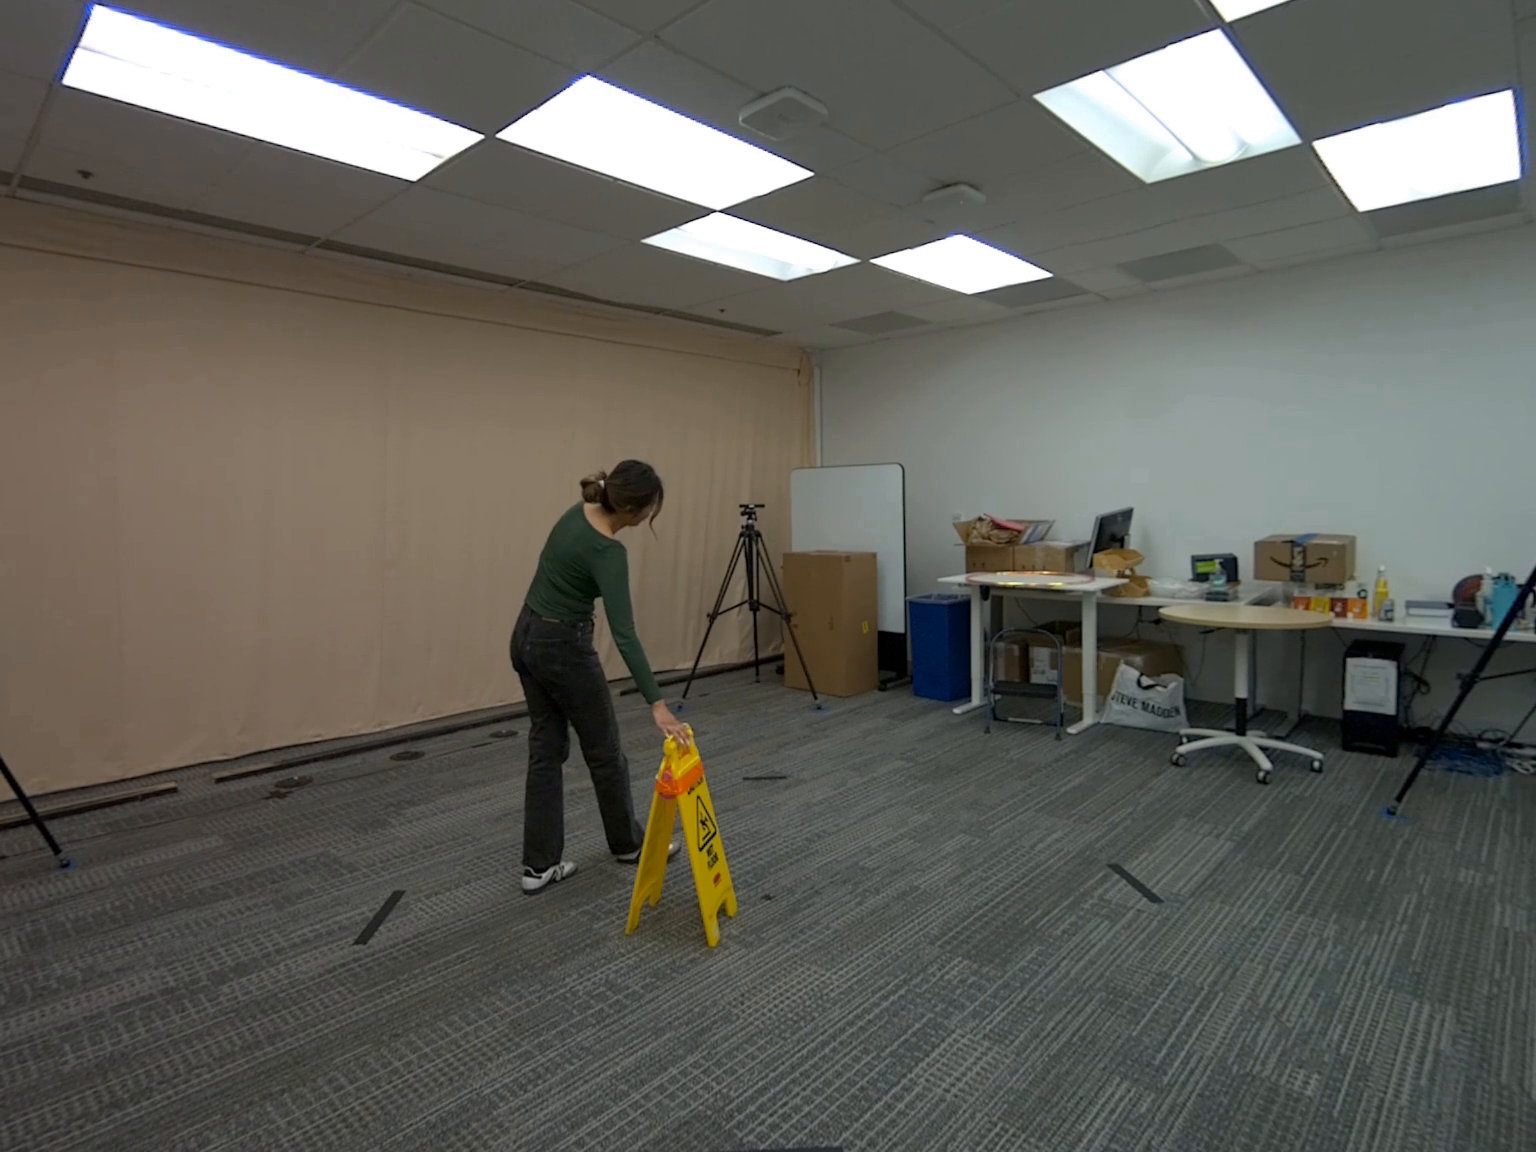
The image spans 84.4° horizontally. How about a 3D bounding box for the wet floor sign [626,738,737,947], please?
[{"bbox_3d":[-0.286,0.839,2.802,0.295,0.644,0.278,1,5,17],"label":"wet floor sign"}]
